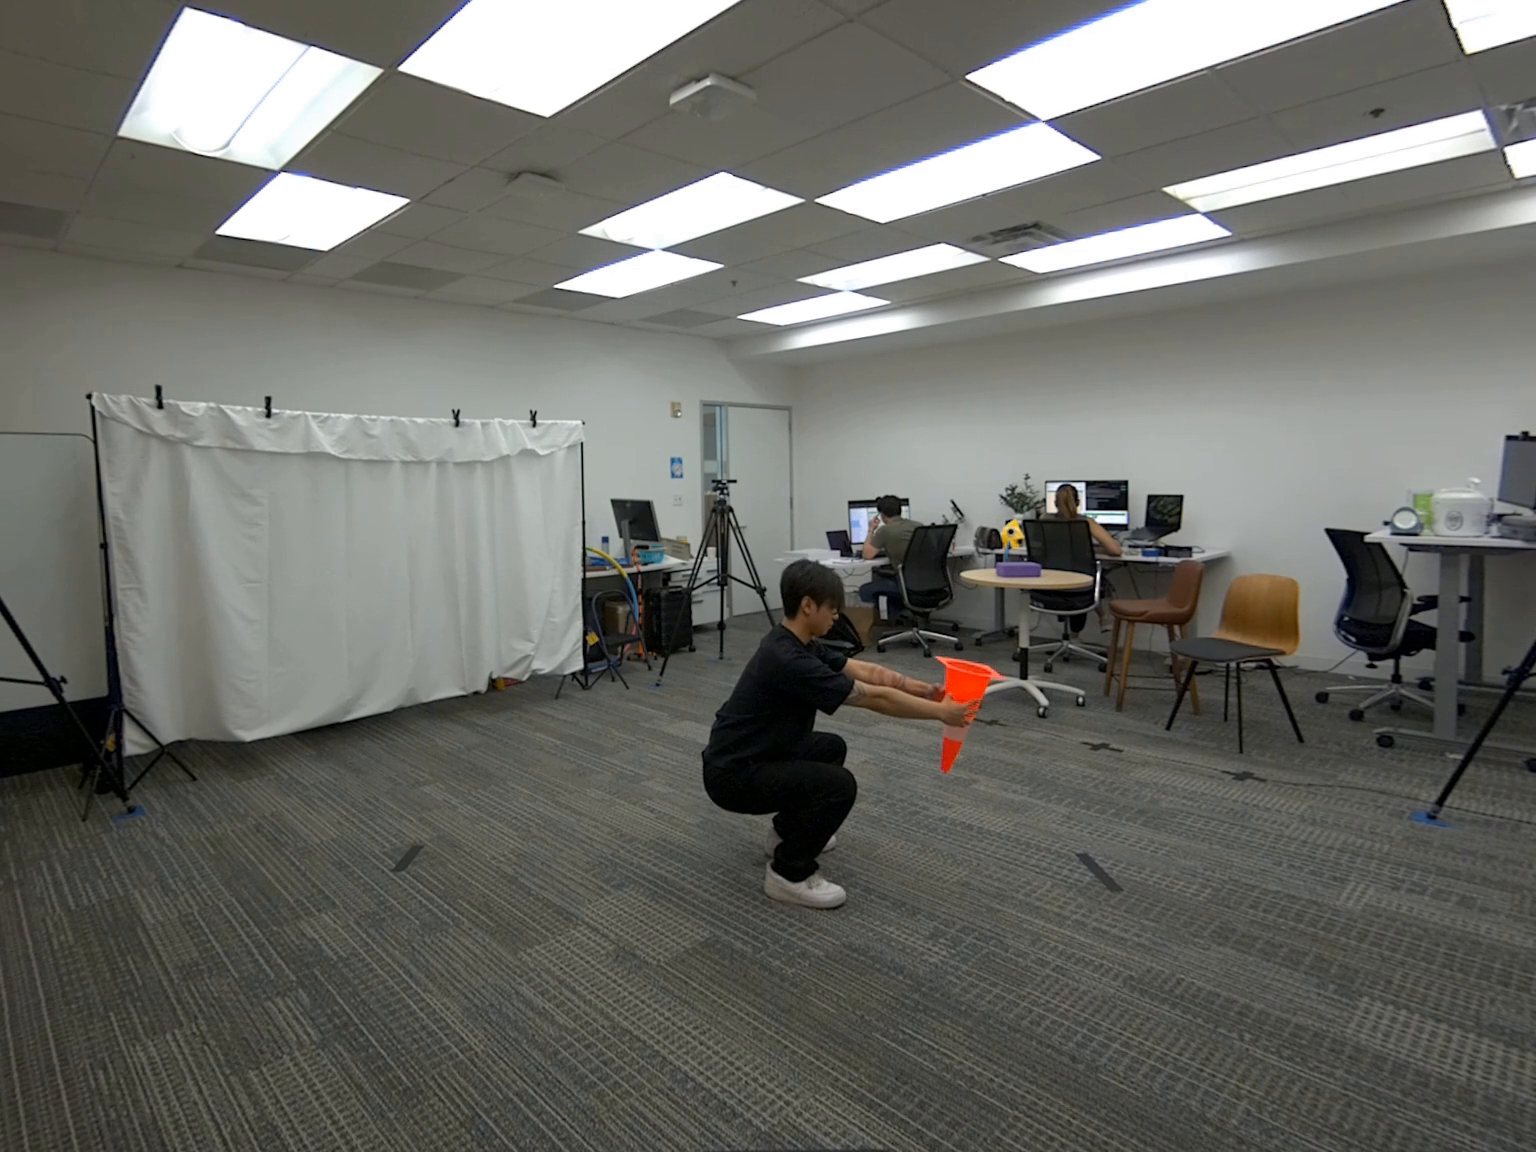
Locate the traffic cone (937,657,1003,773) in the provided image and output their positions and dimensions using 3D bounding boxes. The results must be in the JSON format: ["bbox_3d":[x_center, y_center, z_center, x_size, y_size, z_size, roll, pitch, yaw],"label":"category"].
[{"bbox_3d":[0.663,0.500,2.972,0.203,0.382,0.206,11,5,-4],"label":"traffic cone"}]
